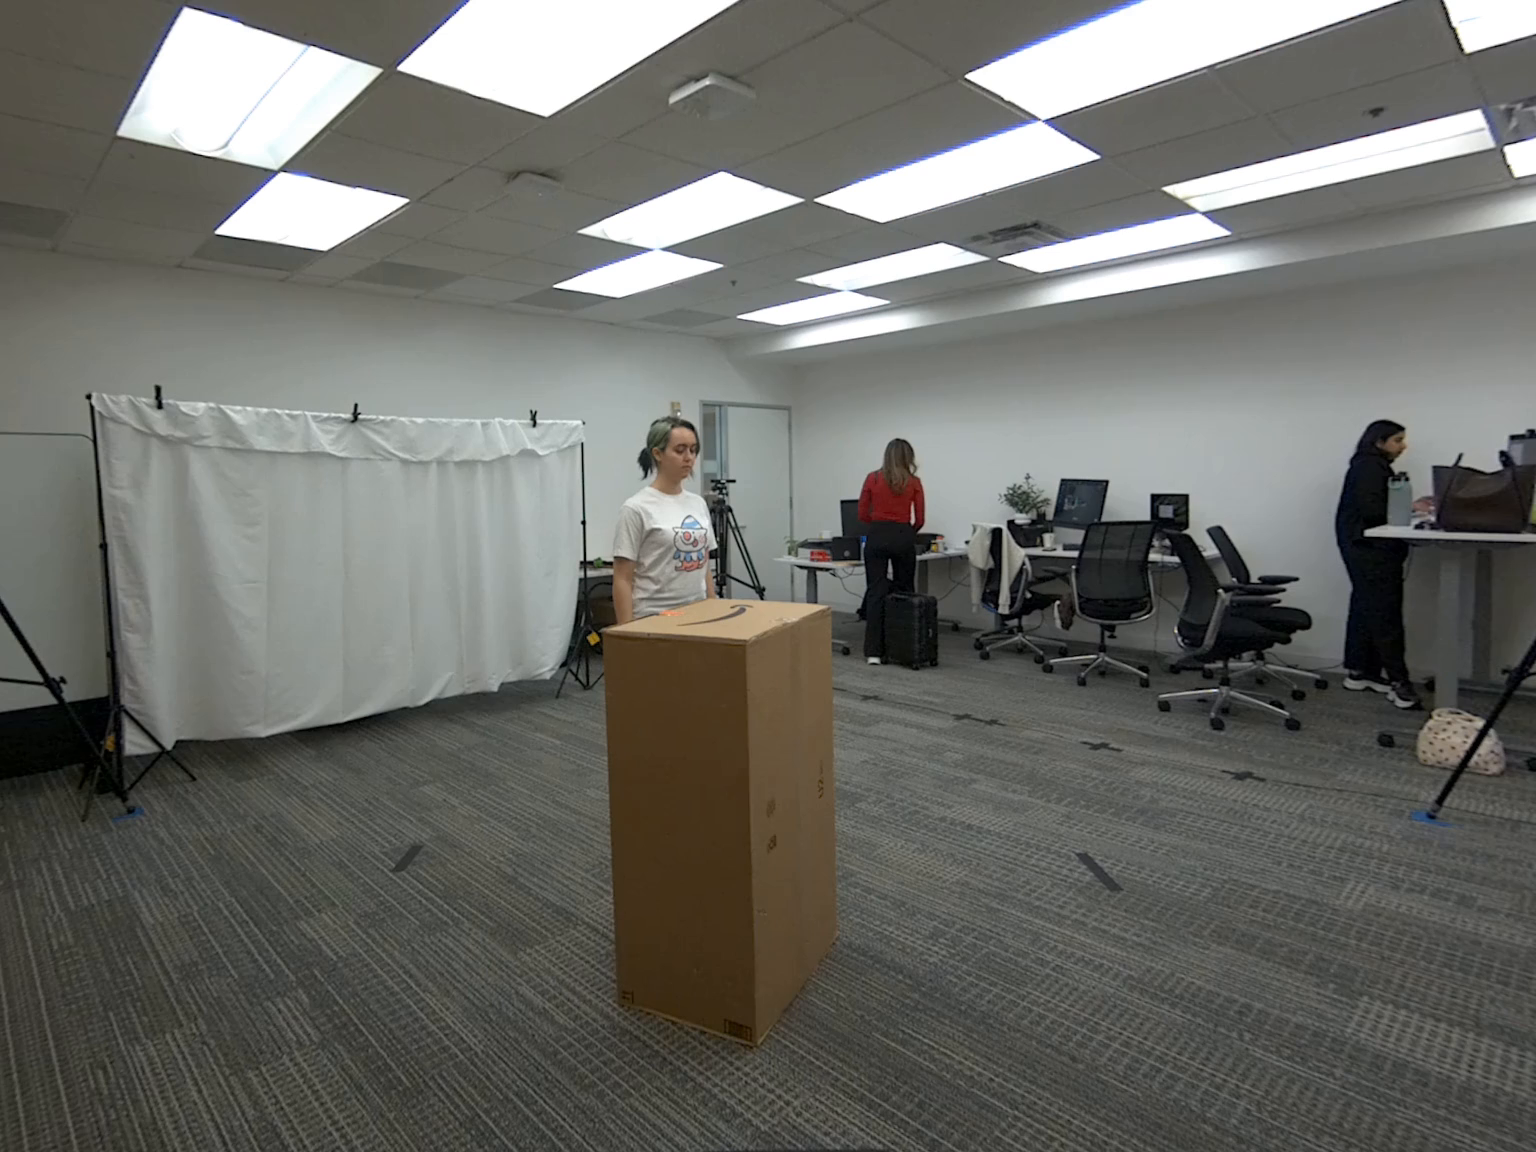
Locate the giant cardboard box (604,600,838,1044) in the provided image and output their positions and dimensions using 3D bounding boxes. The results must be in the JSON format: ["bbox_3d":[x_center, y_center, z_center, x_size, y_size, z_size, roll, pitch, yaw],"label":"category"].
[{"bbox_3d":[-0.110,0.621,2.416,0.437,1.022,0.566,1,5,27],"label":"giant cardboard box"}]
